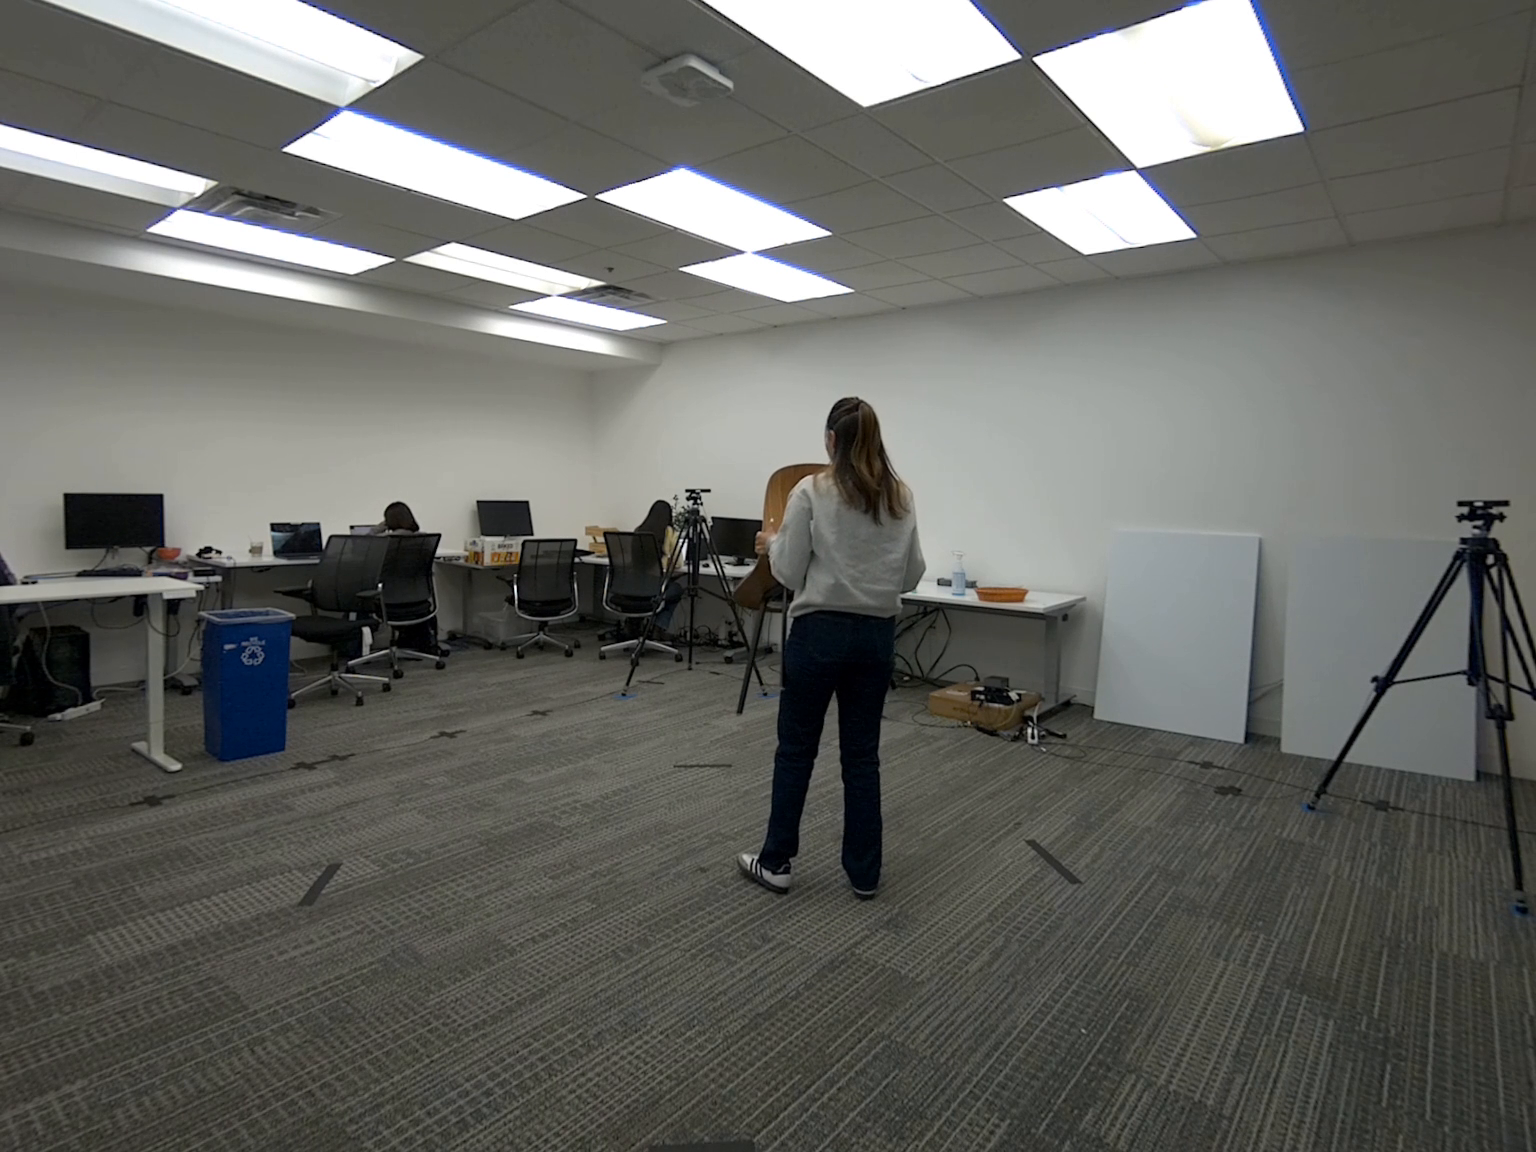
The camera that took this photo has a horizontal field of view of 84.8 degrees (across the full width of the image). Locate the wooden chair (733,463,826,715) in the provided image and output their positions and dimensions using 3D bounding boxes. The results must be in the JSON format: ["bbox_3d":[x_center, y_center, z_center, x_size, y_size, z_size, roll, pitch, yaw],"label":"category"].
[{"bbox_3d":[0.123,0.067,3.295,0.469,0.893,0.524,3,-19,-18],"label":"wooden chair"}]
